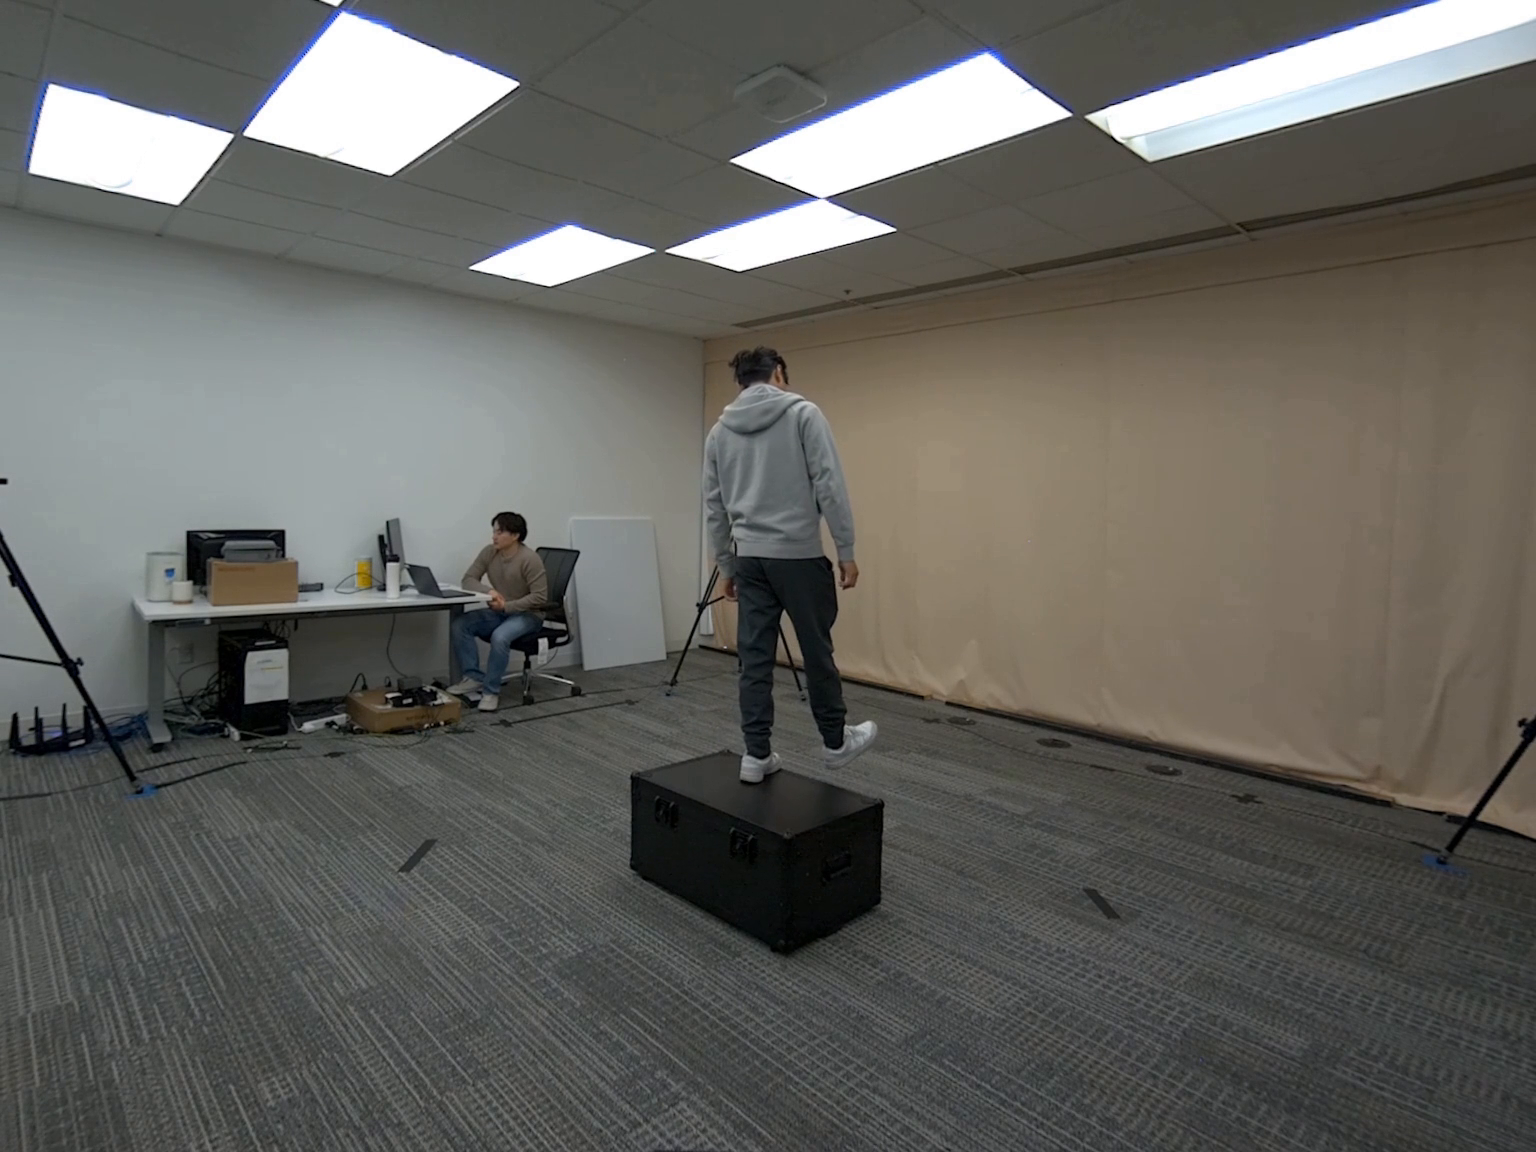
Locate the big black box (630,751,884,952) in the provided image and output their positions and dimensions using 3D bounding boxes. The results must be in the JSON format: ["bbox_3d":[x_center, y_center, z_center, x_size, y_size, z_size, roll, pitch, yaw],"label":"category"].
[{"bbox_3d":[-0.085,0.928,2.999,0.884,0.395,0.509,7,7,45],"label":"big black box"}]
